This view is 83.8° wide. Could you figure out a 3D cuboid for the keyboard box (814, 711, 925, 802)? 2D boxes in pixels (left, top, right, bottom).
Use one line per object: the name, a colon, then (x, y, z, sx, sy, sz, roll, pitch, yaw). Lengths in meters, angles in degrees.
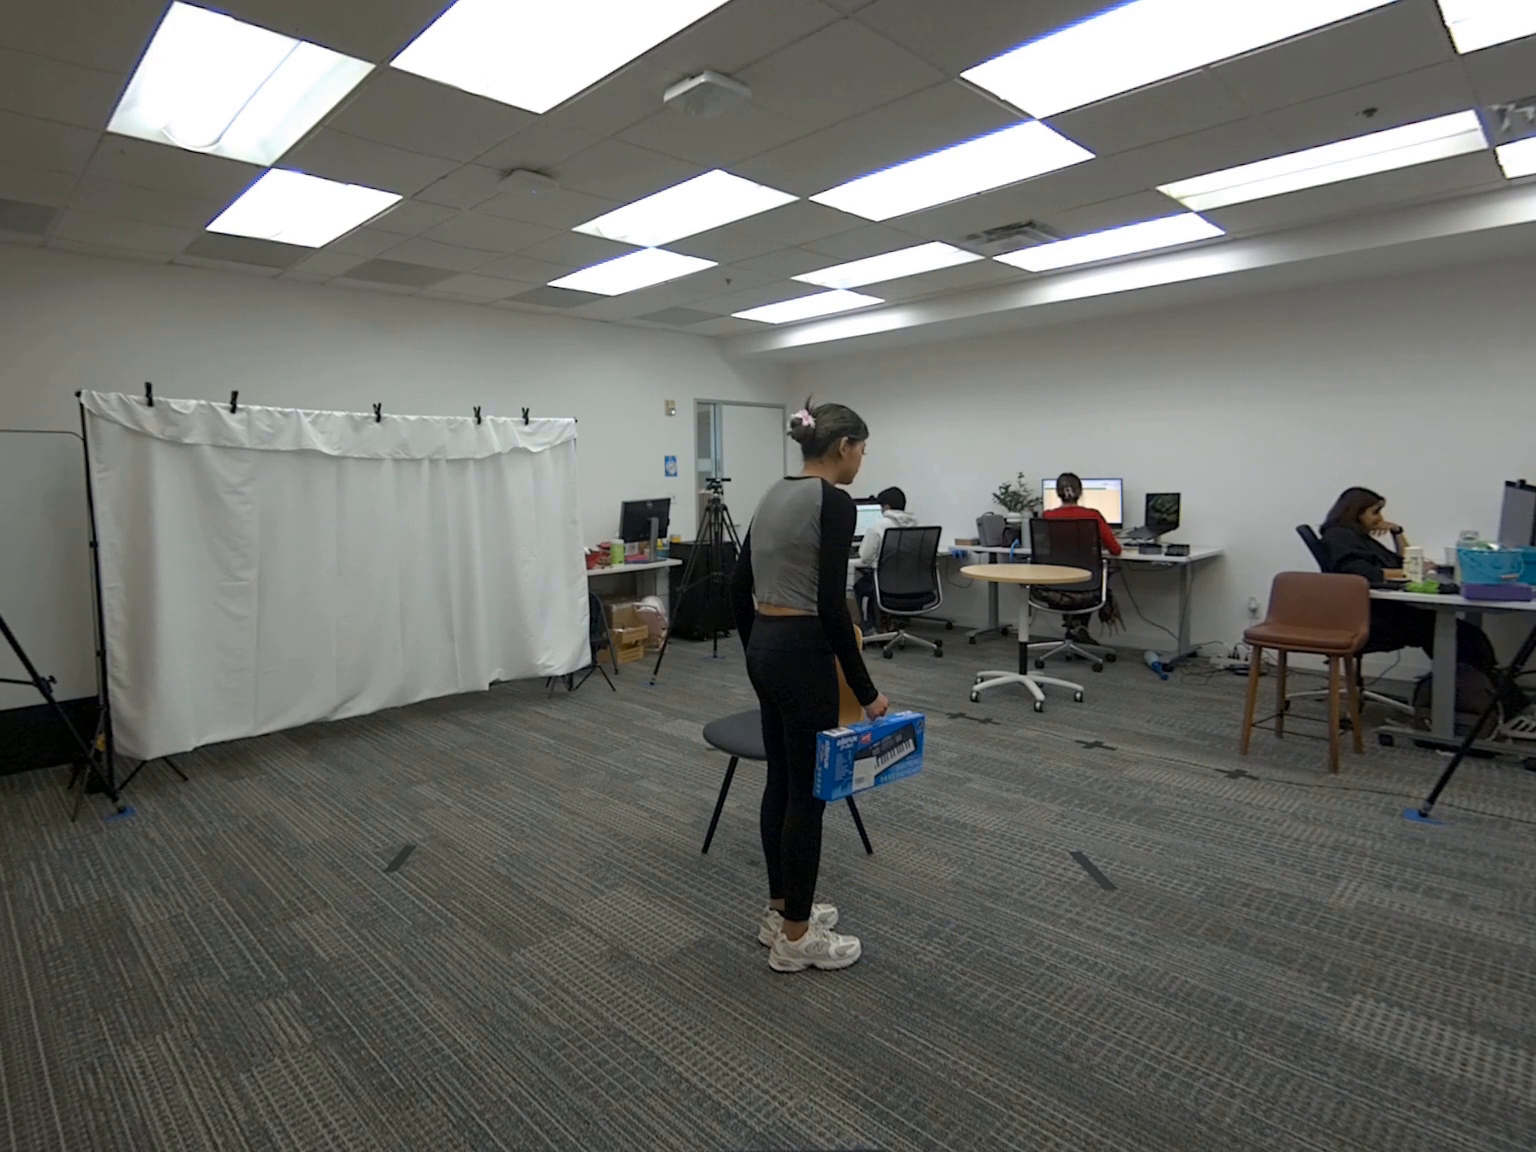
keyboard box: (0.288, 0.500, 2.394, 0.061, 0.175, 0.424, 6, 6, 43)
